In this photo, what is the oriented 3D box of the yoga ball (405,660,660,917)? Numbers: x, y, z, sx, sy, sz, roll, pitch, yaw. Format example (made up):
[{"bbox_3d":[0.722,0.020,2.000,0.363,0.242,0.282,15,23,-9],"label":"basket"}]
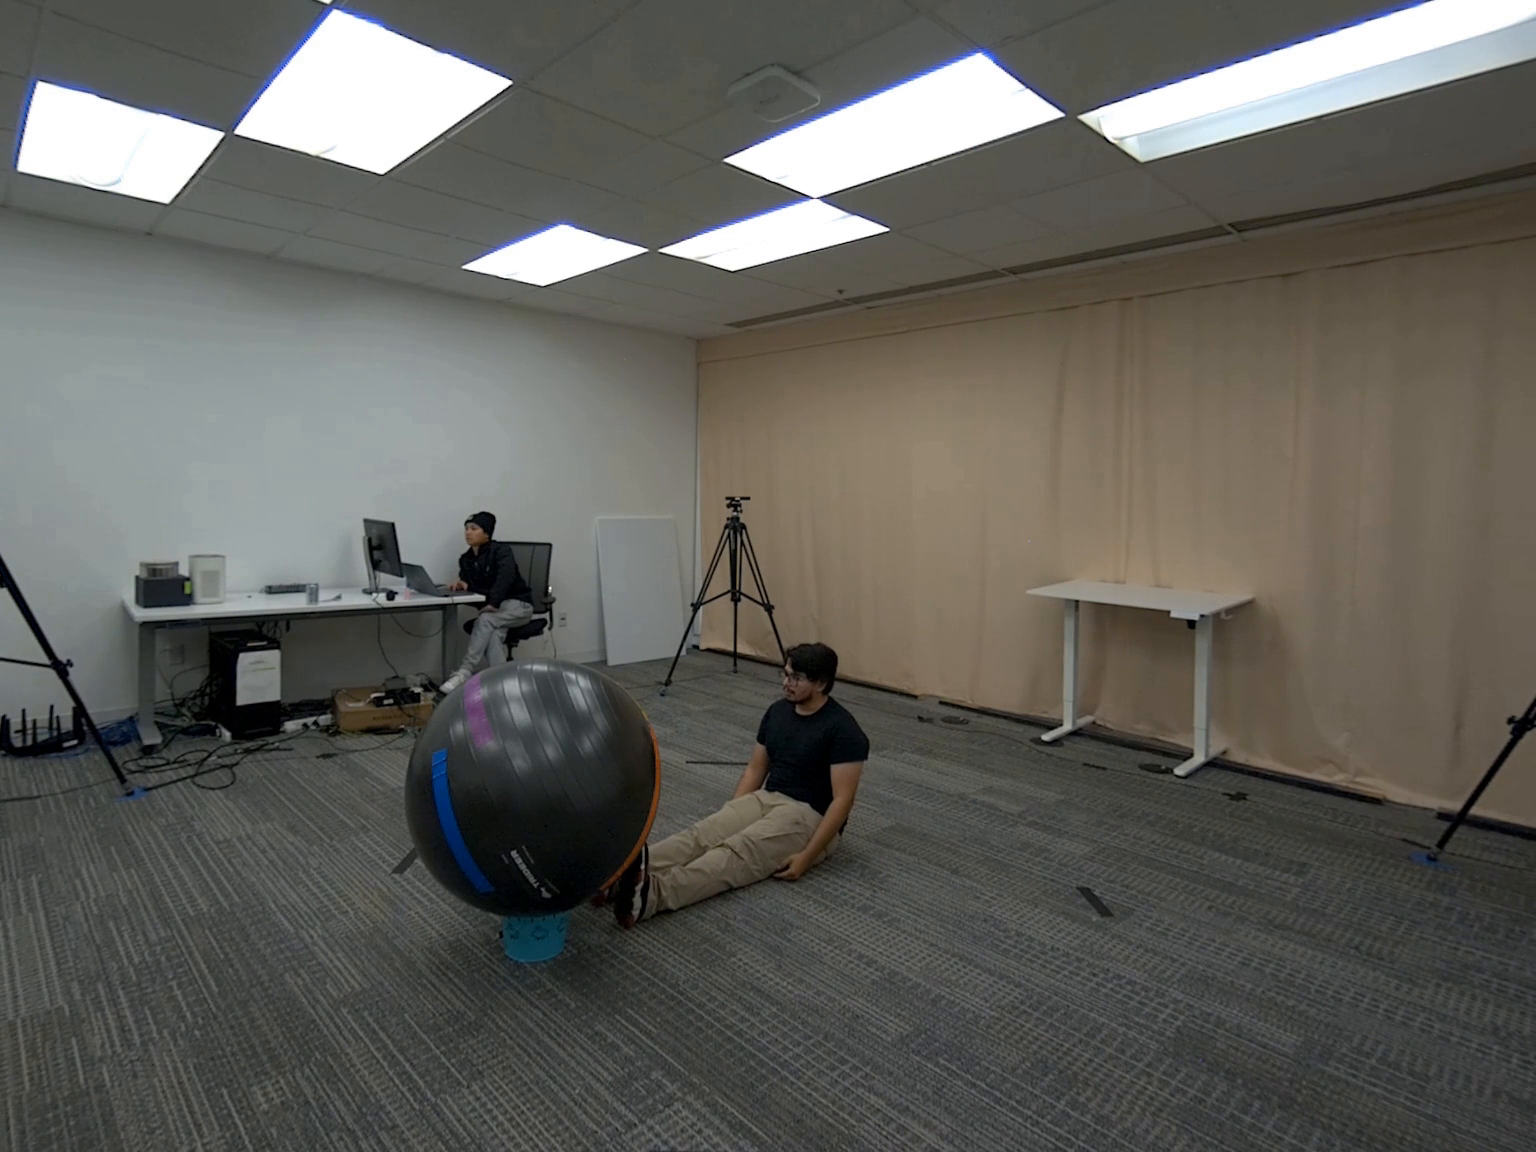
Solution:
[{"bbox_3d":[-0.712,0.637,2.566,0.757,0.756,0.761,1,4,-1],"label":"yoga ball"}]
